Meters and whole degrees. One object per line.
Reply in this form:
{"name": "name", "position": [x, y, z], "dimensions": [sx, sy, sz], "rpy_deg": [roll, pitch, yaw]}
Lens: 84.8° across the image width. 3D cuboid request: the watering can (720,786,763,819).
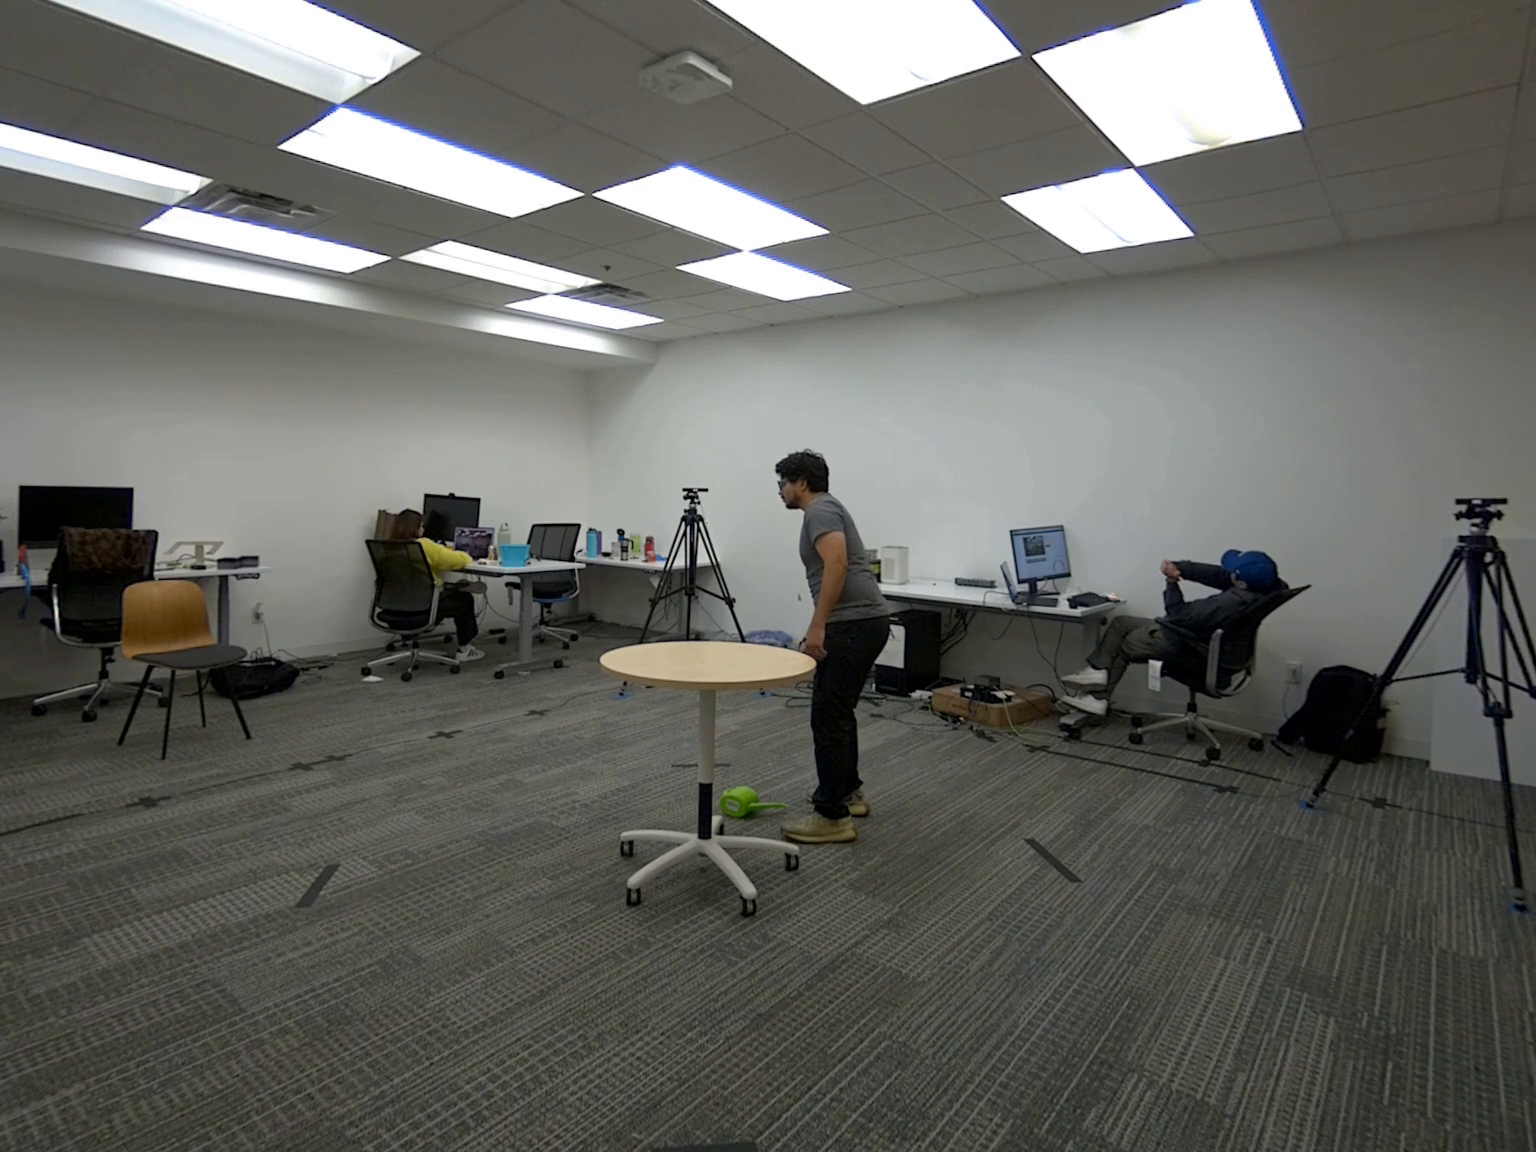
{"name": "watering can", "position": [-0.082, 0.967, 3.669], "dimensions": [0.285, 0.098, 0.173], "rpy_deg": [-3, 3, 26]}
